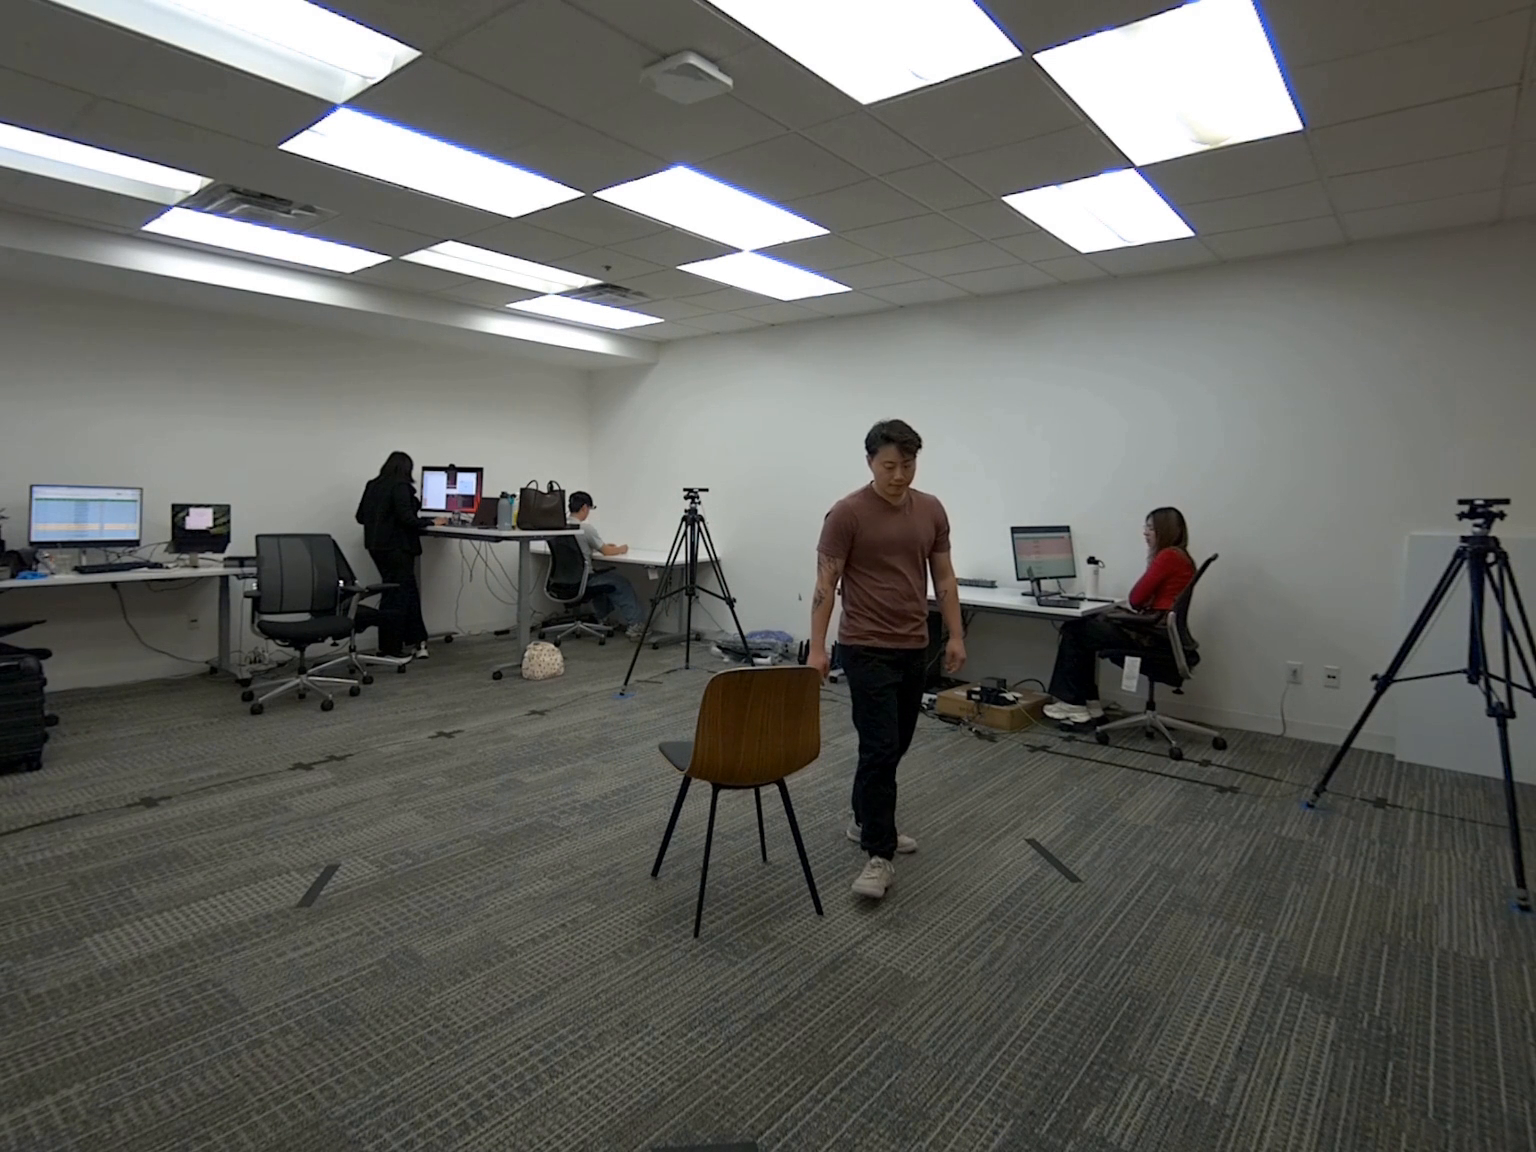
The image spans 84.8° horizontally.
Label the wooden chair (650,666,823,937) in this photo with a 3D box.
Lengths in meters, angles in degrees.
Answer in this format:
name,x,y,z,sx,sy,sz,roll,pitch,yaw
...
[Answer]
name,x,y,z,sx,sy,sz,roll,pitch,yaw
wooden chair,-0.116,0.666,2.889,0.467,0.872,0.538,0,8,-24
